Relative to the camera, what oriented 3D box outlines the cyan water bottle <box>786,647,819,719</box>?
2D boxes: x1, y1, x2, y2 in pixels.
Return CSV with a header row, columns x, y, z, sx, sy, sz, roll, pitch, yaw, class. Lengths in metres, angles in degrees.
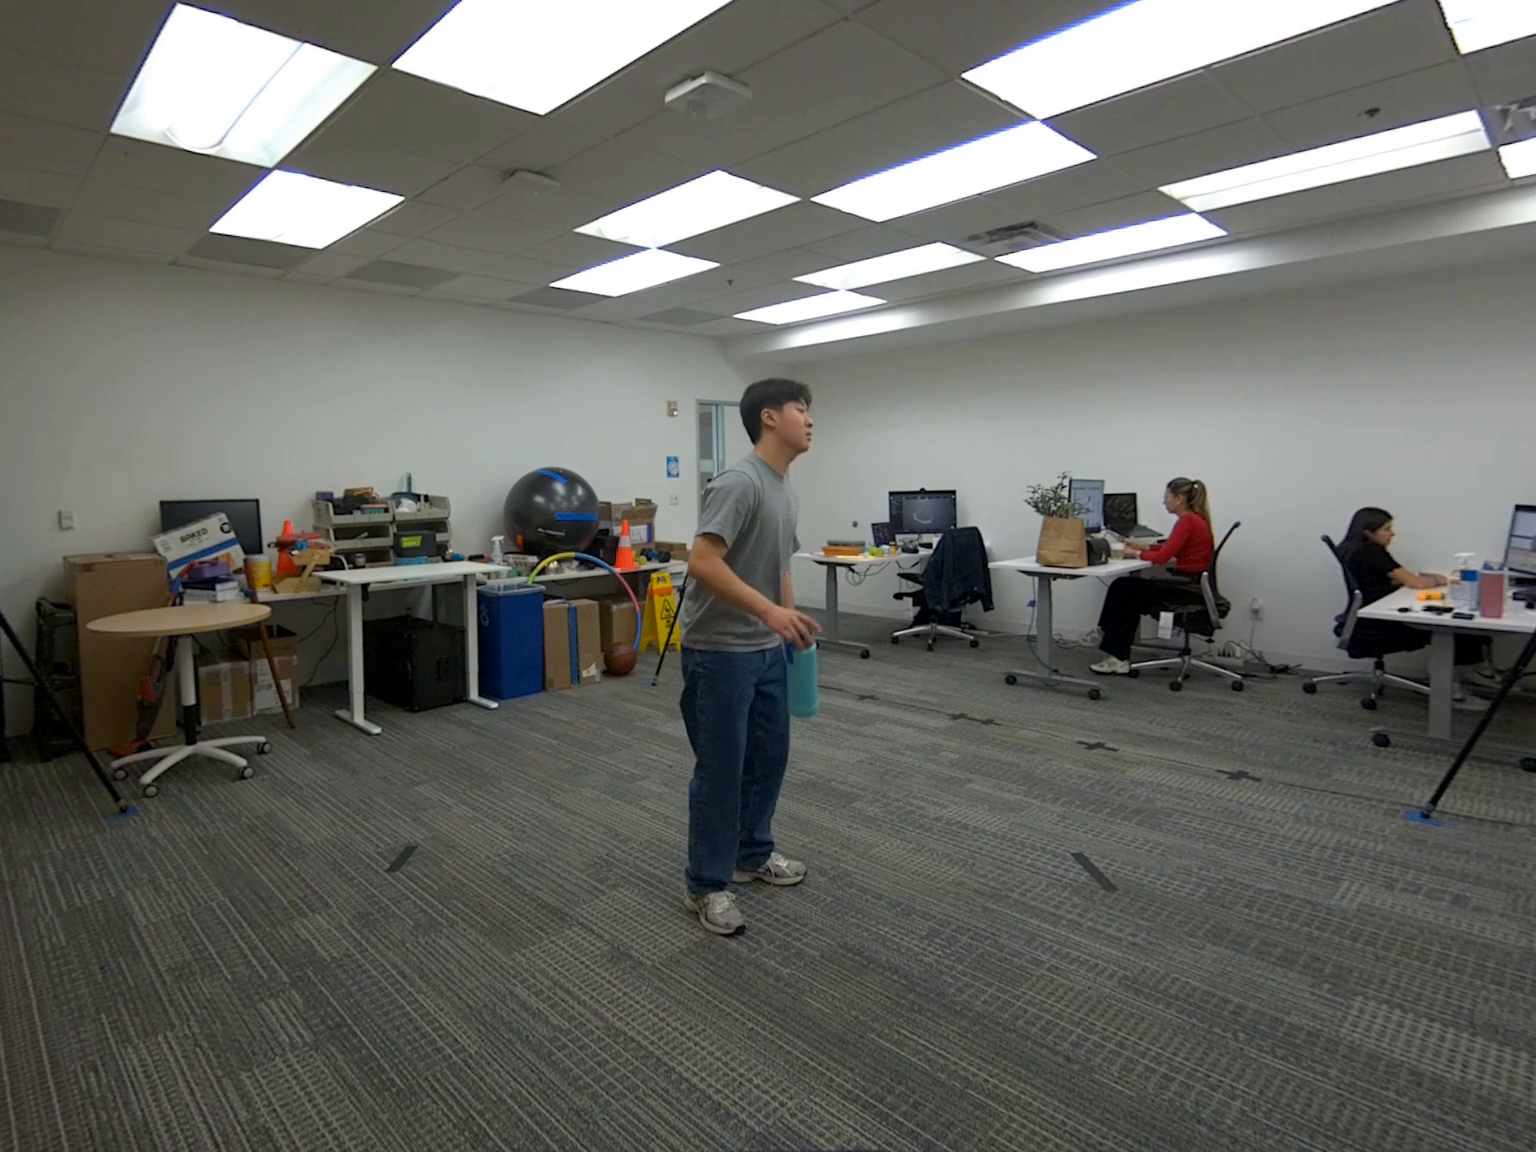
x,y,z,sx,sy,sz,roll,pitch,yaw,class
0.097,0.286,2.495,0.092,0.278,0.094,-6,20,1,cyan water bottle
